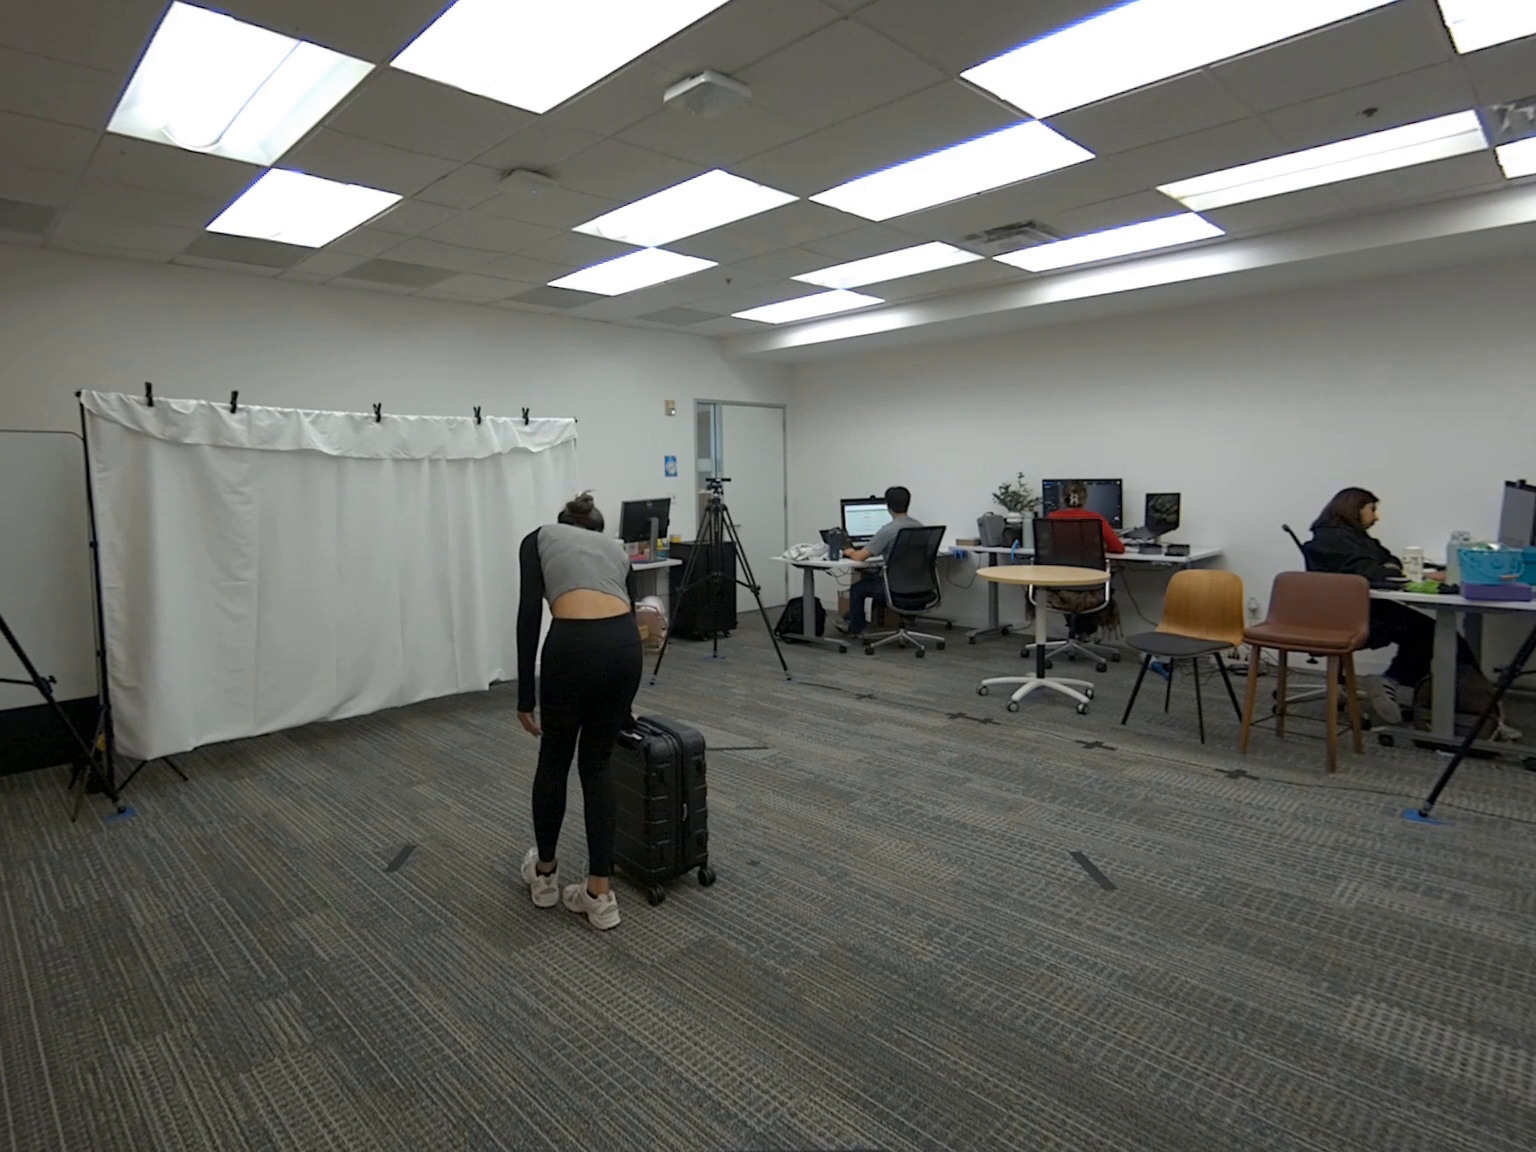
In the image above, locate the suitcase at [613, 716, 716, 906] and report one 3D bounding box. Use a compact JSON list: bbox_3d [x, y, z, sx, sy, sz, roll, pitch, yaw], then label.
[{"bbox_3d":[-0.394,0.783,3.008,0.242,0.548,0.386,-3,4,-38],"label":"suitcase"}]
